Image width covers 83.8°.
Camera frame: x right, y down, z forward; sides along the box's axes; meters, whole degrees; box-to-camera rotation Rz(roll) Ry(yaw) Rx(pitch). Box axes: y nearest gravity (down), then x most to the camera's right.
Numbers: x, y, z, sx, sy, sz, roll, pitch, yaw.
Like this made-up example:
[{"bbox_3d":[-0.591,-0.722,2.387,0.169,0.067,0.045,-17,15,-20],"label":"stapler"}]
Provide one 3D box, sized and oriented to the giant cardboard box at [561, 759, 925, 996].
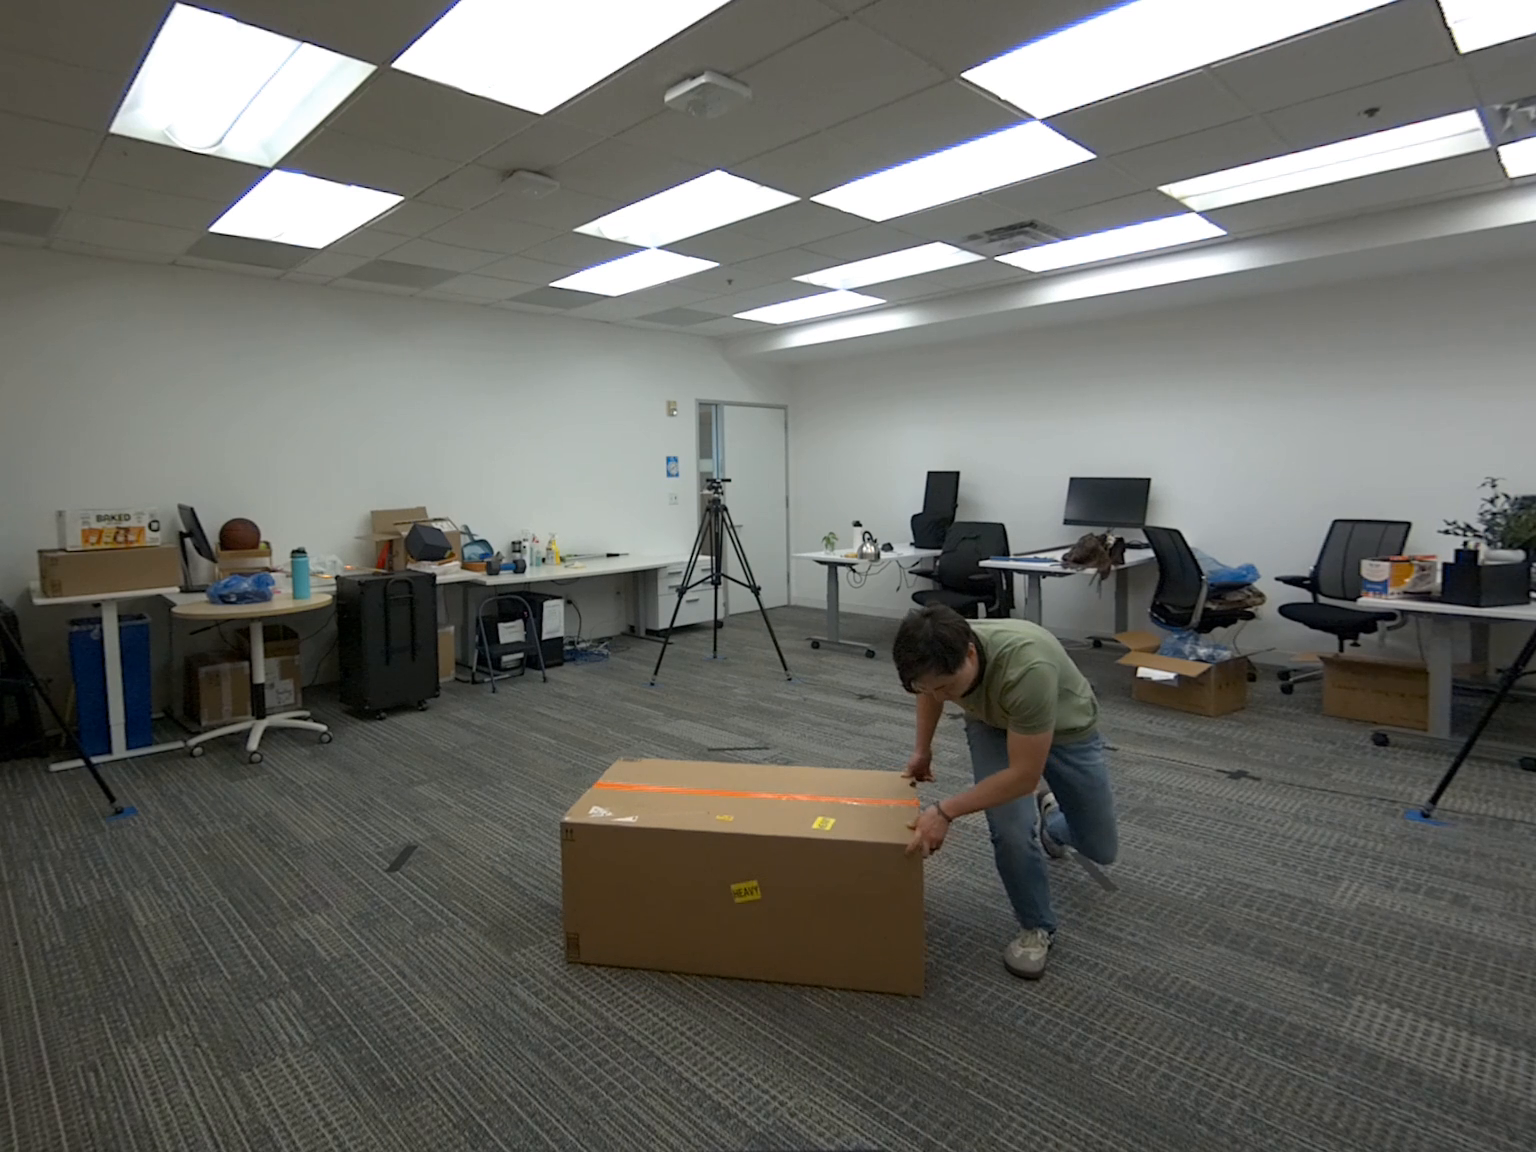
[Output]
[{"bbox_3d":[-0.051,0.880,2.652,1.036,0.424,0.574,0,6,10],"label":"giant cardboard box"}]
